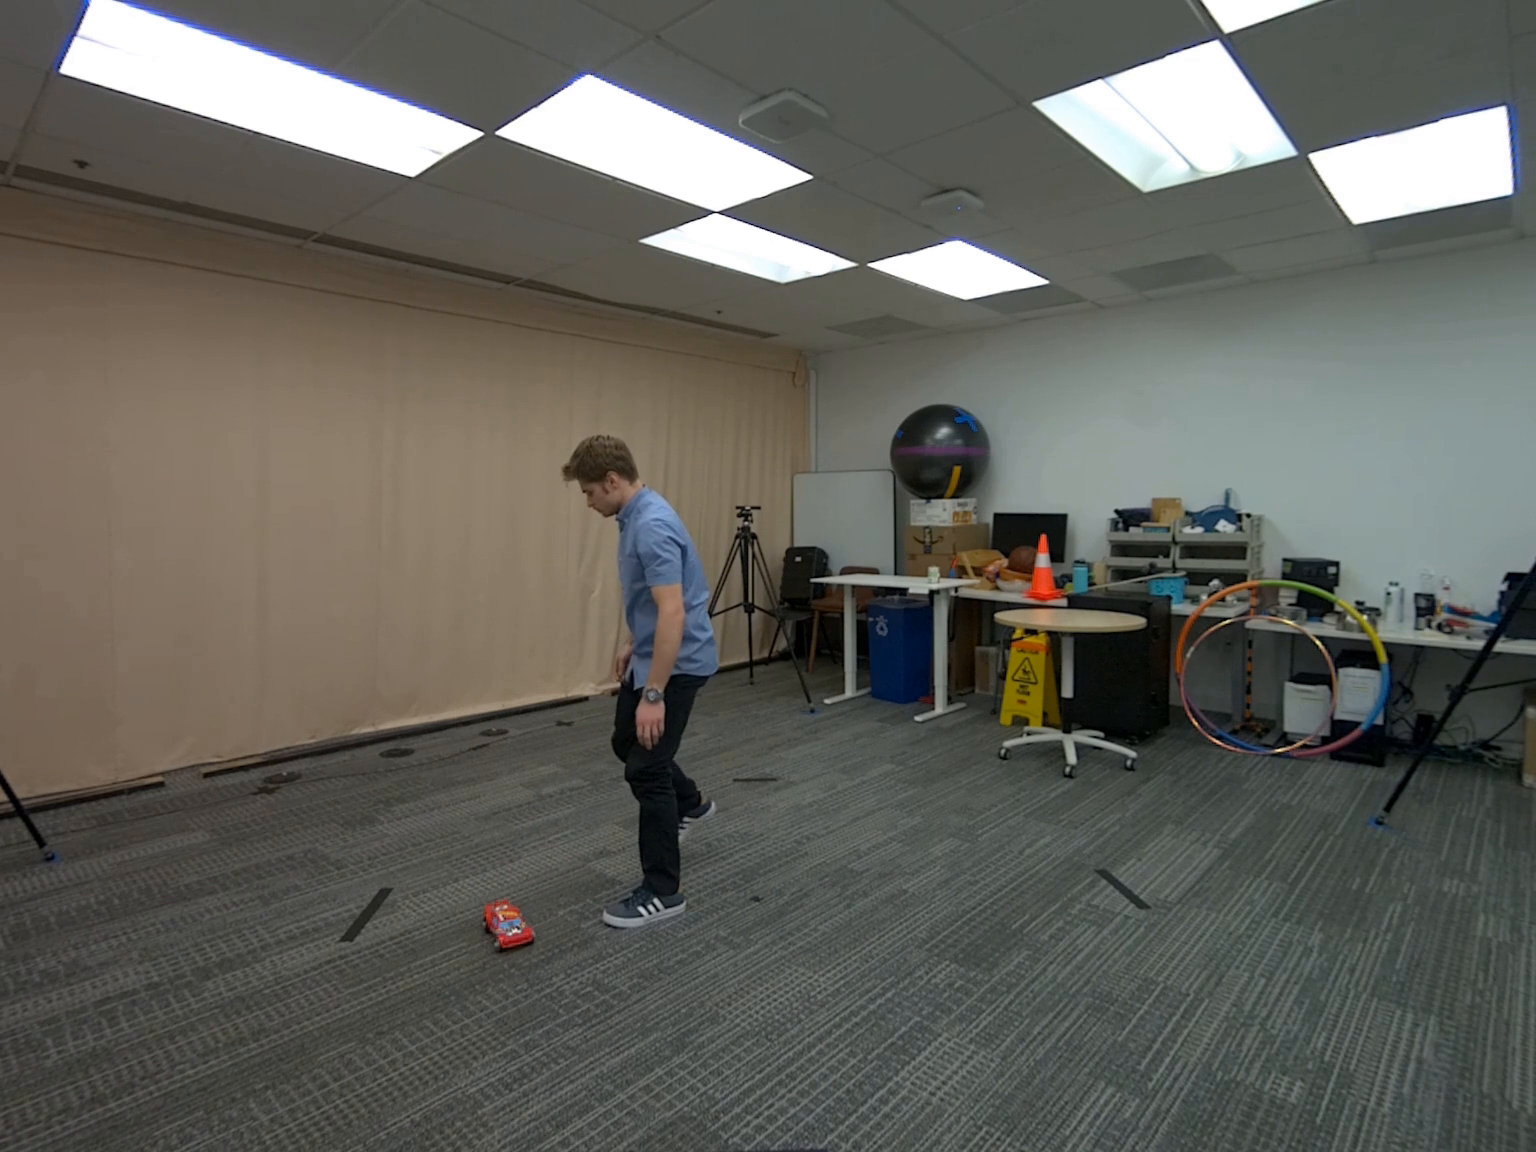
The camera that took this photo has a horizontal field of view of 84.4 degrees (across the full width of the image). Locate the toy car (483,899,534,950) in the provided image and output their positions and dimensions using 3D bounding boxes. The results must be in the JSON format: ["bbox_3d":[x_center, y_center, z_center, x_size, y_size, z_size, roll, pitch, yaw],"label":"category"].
[{"bbox_3d":[-0.855,1.141,2.740,0.127,0.082,0.263,-4,16,-31],"label":"toy car"}]
